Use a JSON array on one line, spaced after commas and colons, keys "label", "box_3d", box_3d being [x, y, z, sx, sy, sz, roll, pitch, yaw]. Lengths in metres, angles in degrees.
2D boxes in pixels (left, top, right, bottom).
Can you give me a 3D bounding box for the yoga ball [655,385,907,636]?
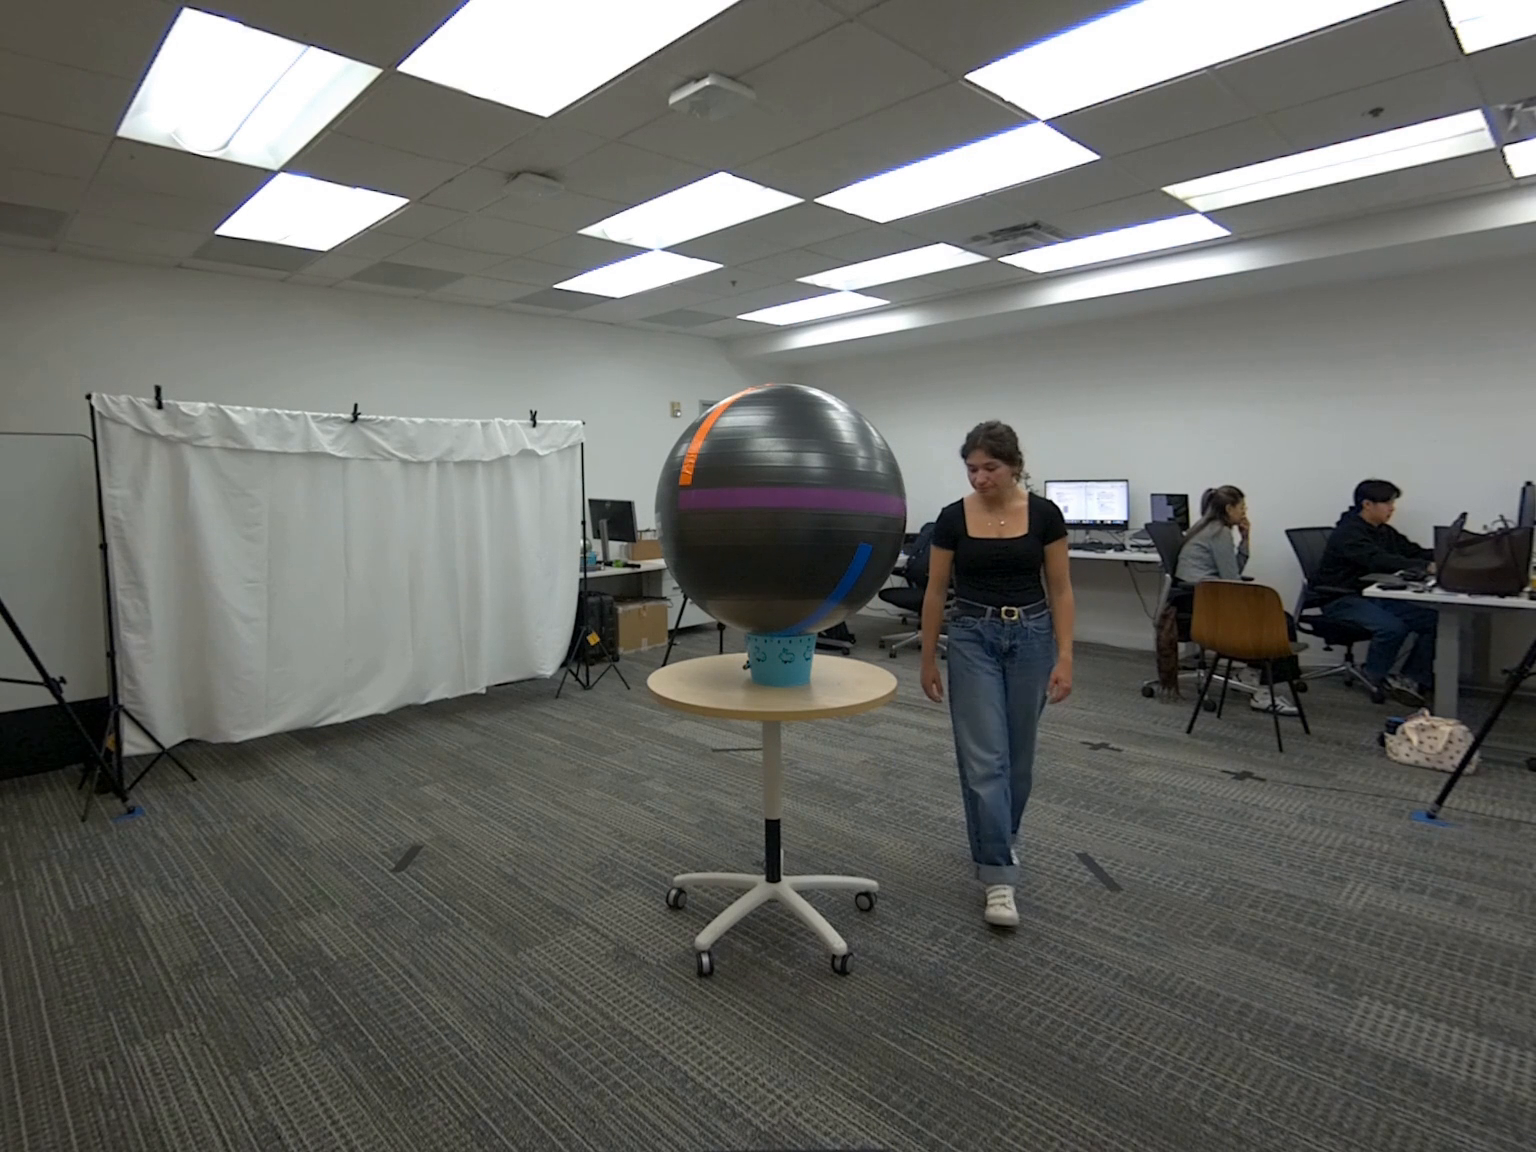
[{"label": "yoga ball", "box_3d": [0.032, -0.193, 2.580, 0.757, 0.755, 0.762, -1, 5, -2]}]
